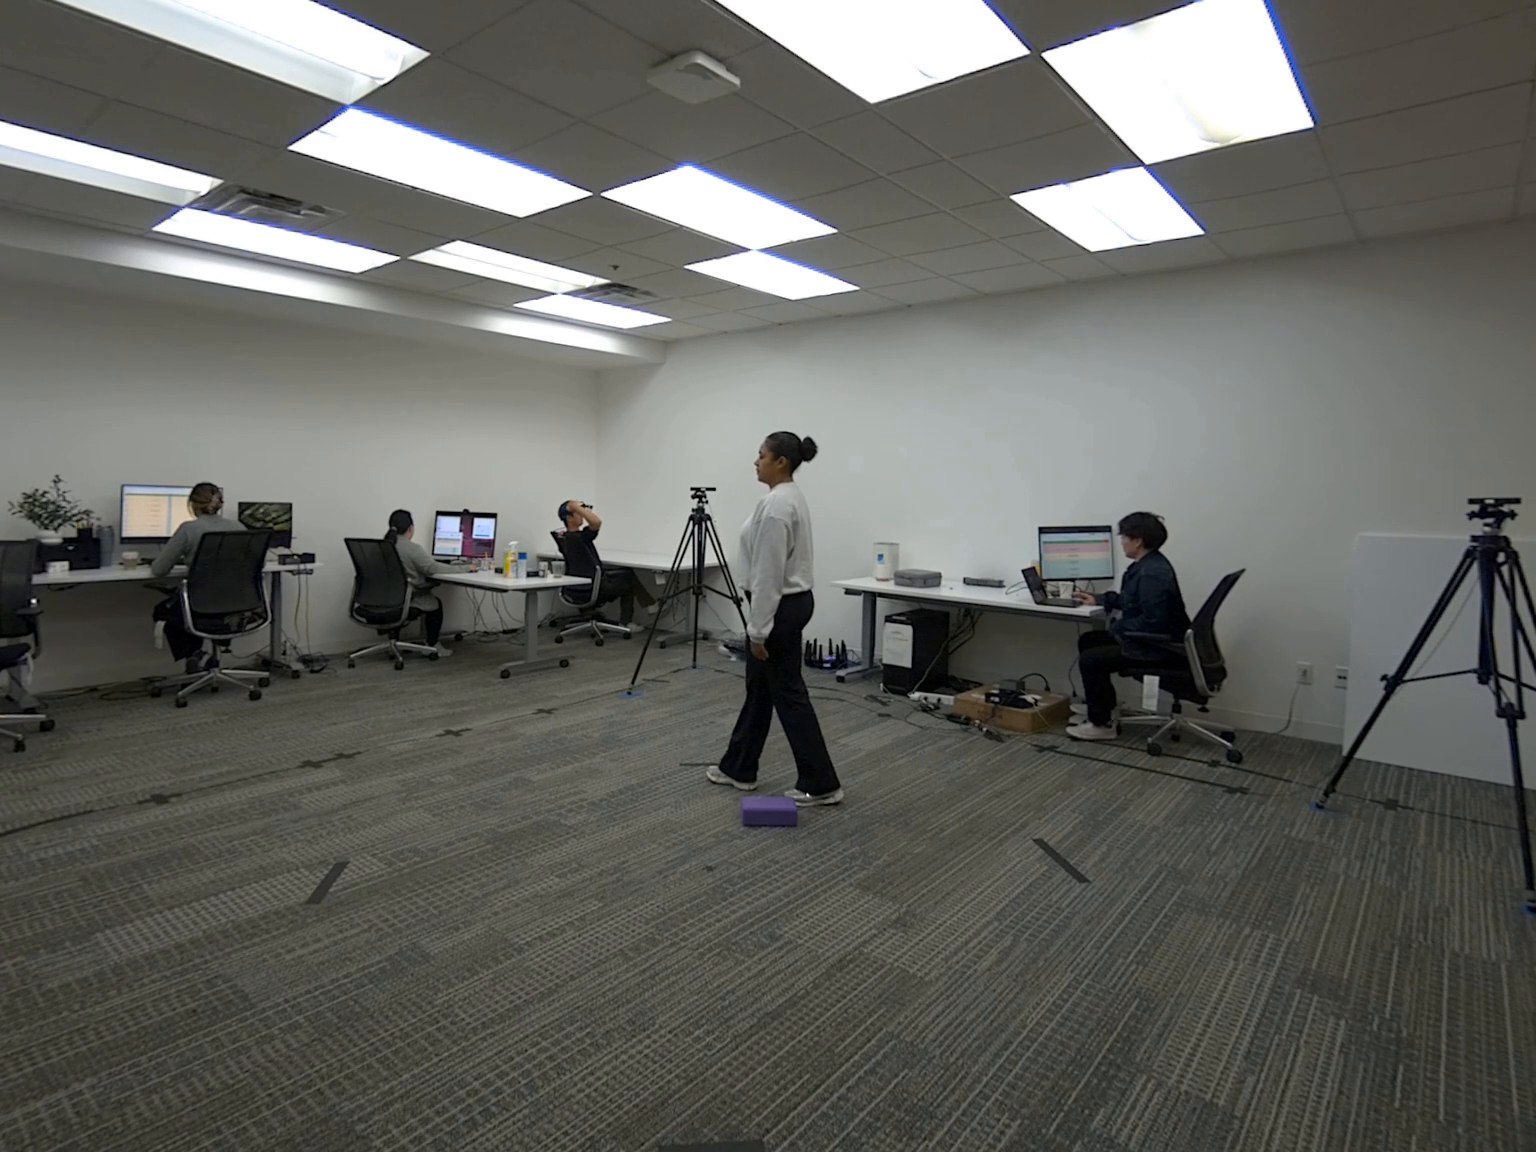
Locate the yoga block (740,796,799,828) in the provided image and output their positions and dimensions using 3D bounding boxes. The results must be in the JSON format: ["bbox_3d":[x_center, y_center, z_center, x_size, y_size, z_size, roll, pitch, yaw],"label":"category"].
[{"bbox_3d":[-0.005,0.985,3.577,0.229,0.076,0.150,1,6,-3],"label":"yoga block"}]
